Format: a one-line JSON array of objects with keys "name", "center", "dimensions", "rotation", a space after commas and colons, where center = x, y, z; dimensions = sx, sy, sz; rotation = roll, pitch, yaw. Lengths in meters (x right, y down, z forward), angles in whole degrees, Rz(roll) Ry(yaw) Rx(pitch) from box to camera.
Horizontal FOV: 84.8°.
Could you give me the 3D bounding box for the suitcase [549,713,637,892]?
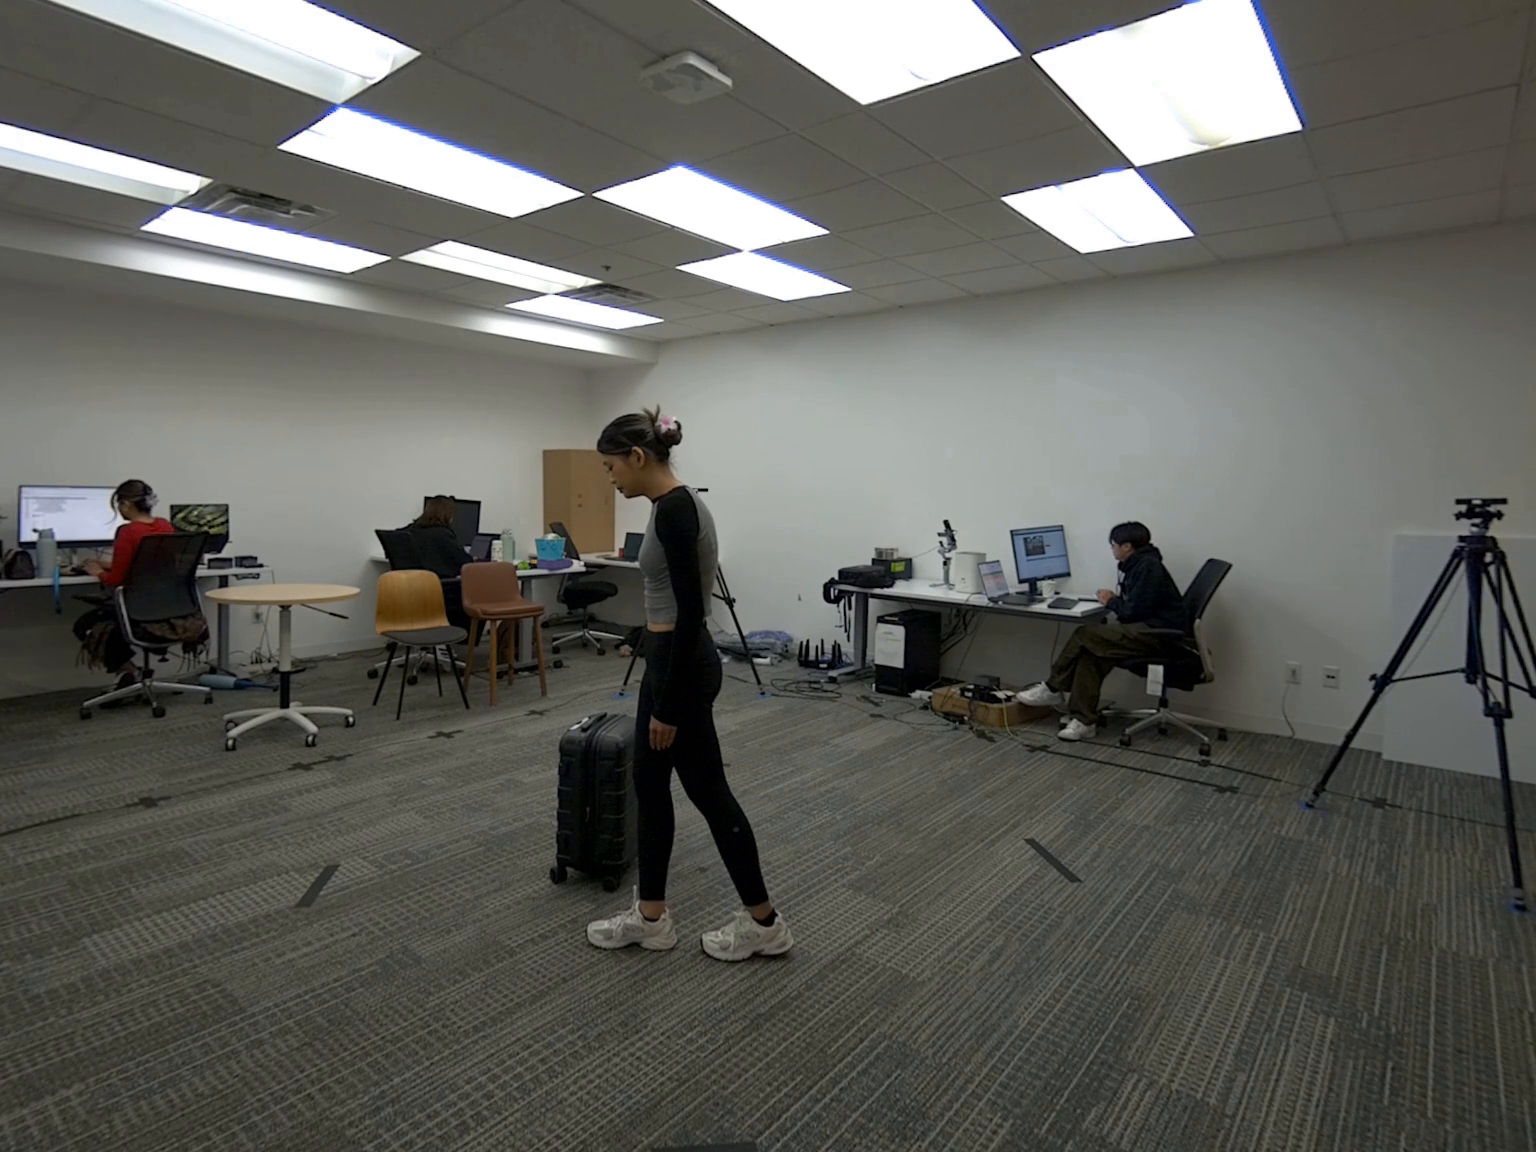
[{"name": "suitcase", "center": [-0.602, 0.789, 3.080], "dimensions": [0.252, 0.548, 0.371], "rotation": [3, 3, 11]}]
